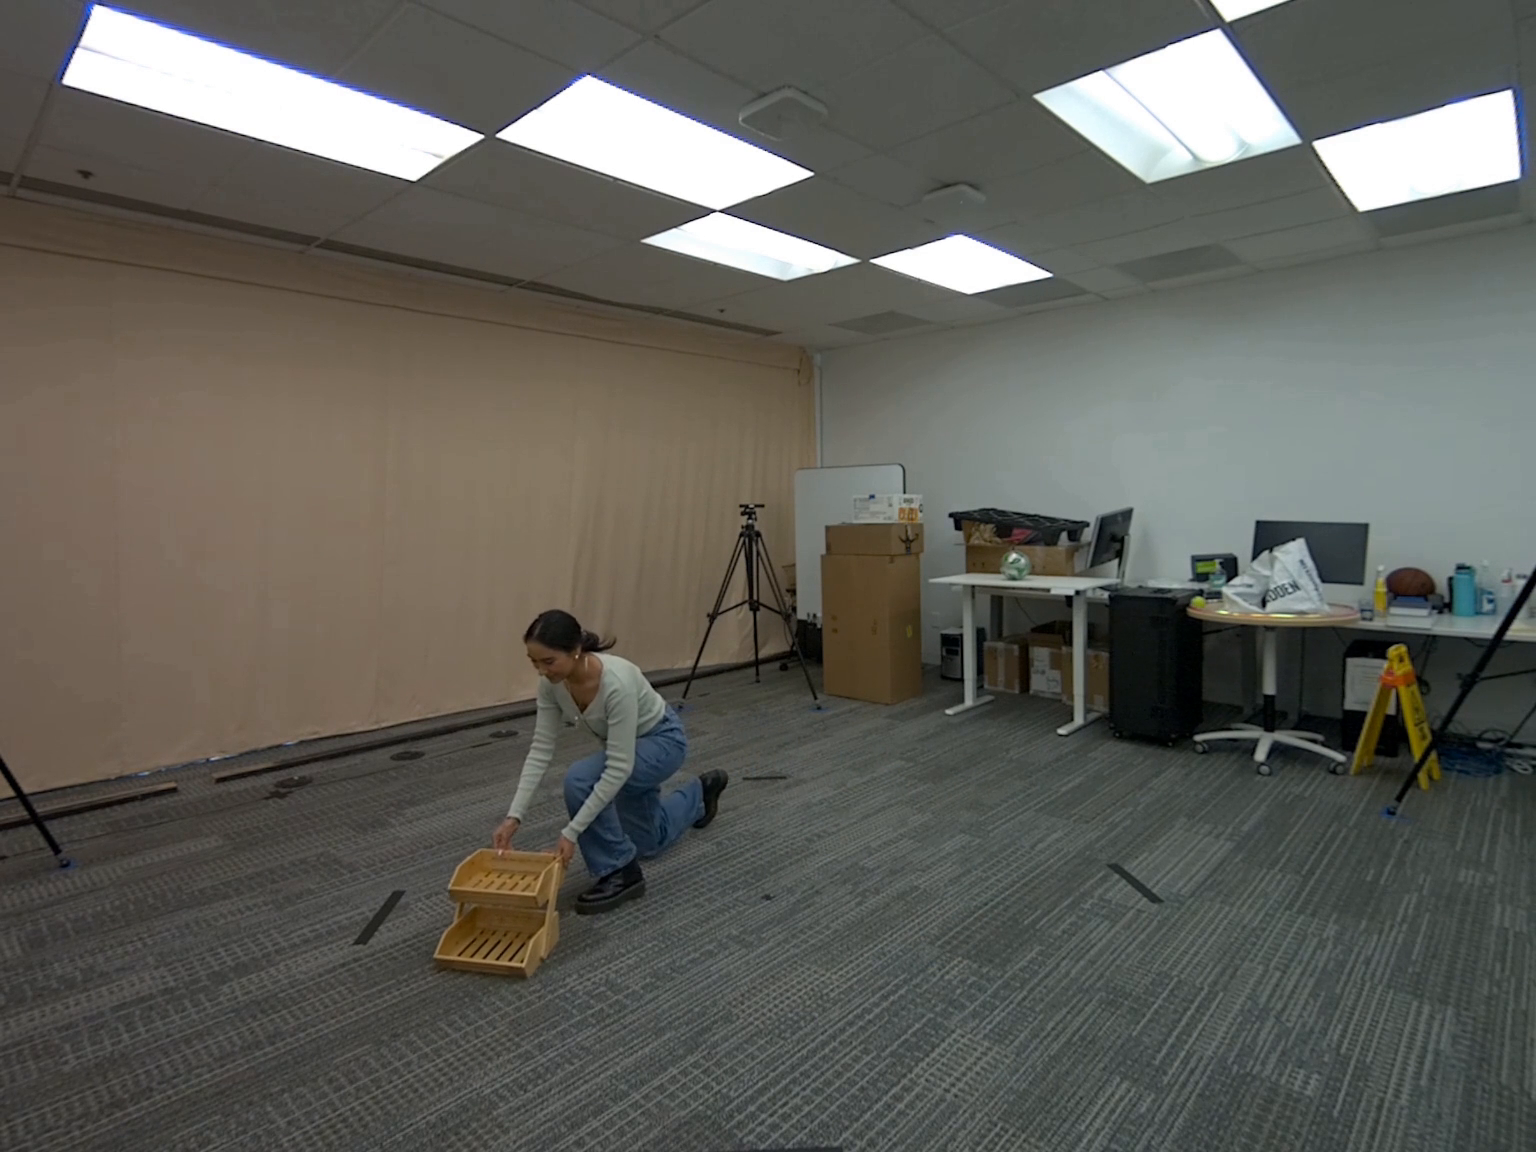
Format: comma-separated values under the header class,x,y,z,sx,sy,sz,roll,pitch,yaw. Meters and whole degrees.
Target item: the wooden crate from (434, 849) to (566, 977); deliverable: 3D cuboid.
class,x,y,z,sx,sy,sz,roll,pitch,yaw
wooden crate,-0.851,1.056,2.651,0.329,0.273,0.298,0,2,12
